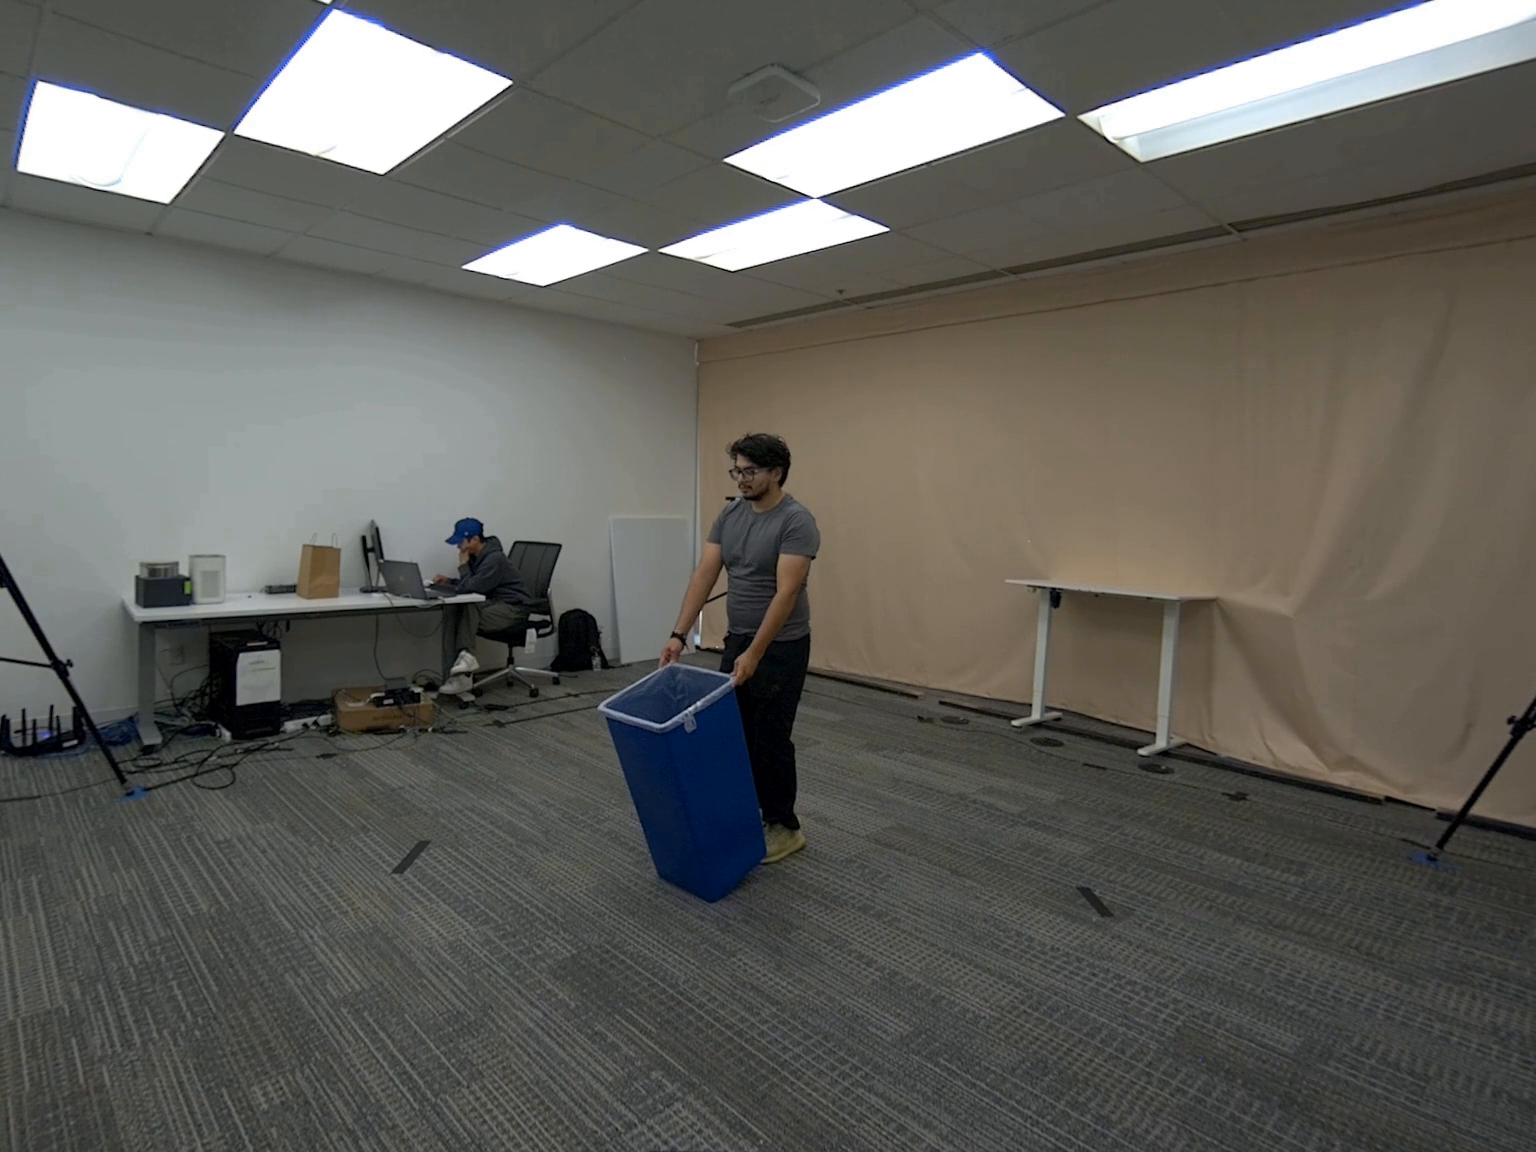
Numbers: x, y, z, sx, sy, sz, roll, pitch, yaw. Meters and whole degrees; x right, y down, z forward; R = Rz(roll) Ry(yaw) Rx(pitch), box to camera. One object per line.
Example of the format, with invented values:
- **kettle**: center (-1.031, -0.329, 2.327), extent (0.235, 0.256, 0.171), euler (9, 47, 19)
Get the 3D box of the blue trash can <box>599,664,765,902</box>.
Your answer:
- **blue trash can**: center (-0.280, 0.728, 2.993), extent (0.387, 0.703, 0.370), euler (4, 23, 43)
